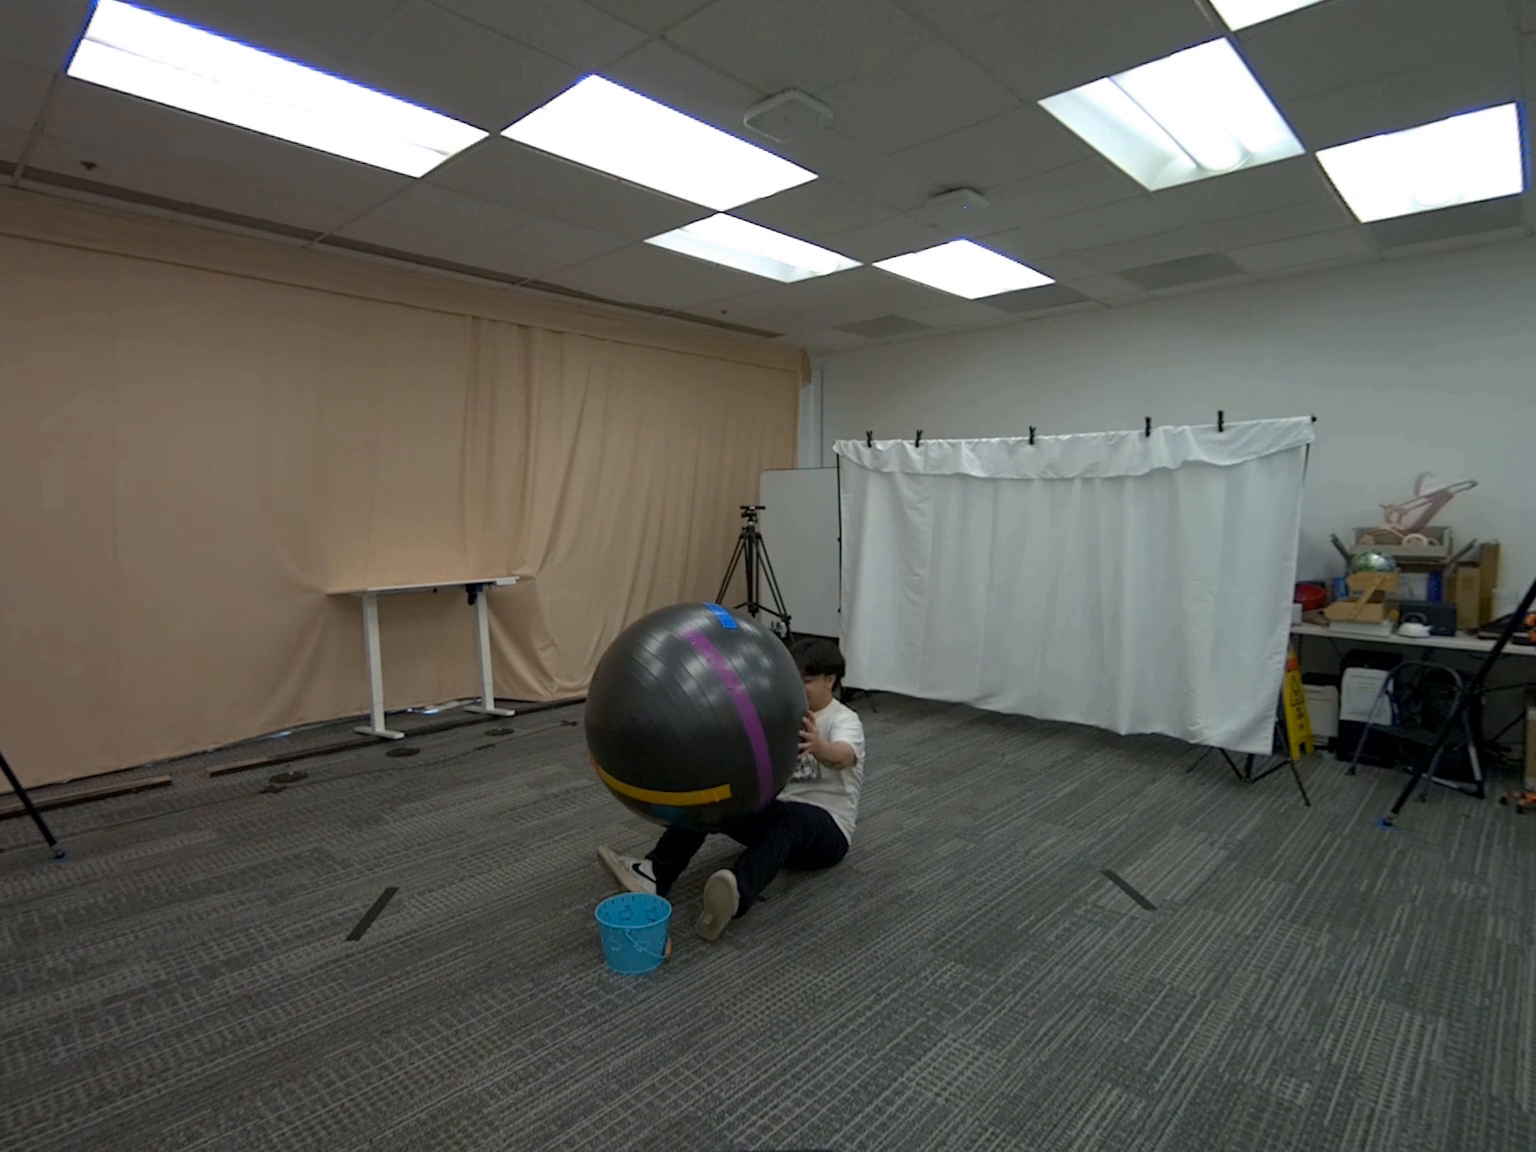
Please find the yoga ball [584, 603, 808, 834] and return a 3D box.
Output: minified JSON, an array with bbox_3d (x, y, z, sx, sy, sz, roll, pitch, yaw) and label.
[{"bbox_3d":[-0.233,0.478,2.854,0.757,0.756,0.760,0,4,-2],"label":"yoga ball"}]
